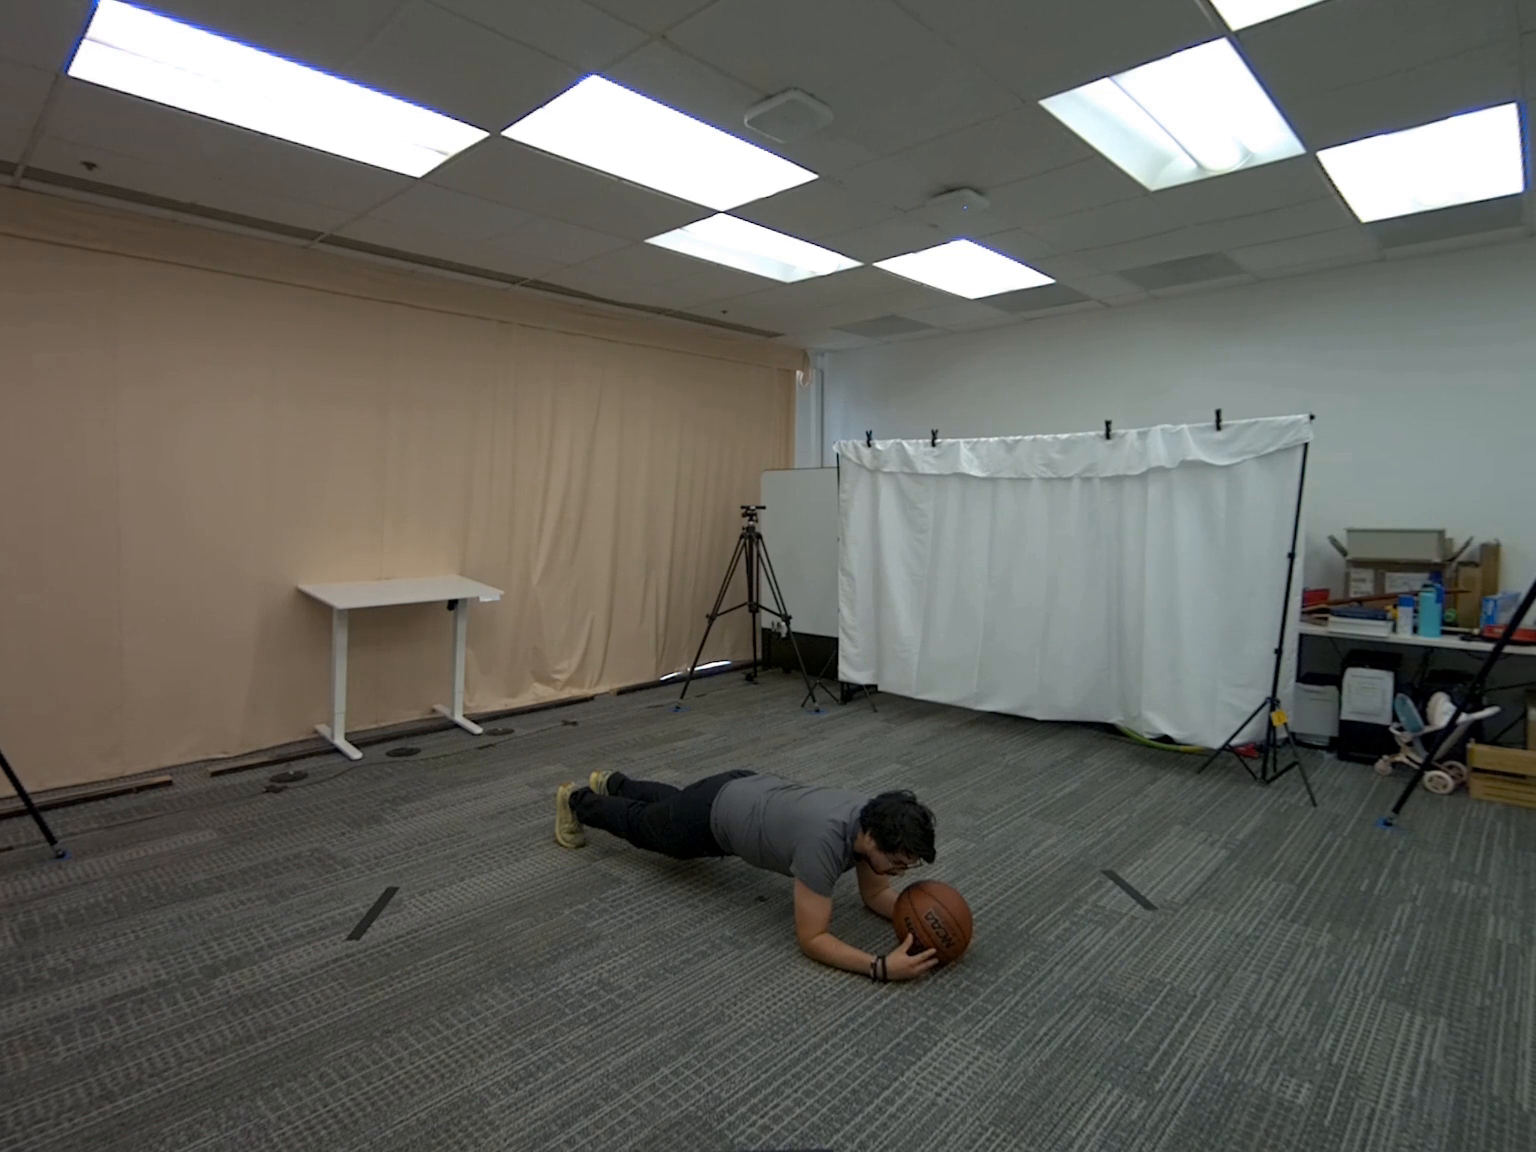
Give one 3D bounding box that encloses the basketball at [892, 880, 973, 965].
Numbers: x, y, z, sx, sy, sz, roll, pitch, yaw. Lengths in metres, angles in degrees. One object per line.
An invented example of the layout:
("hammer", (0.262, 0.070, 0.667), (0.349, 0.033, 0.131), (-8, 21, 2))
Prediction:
("basketball", (0.515, 1.062, 2.567), (0.236, 0.235, 0.237), (0, 4, -2))
